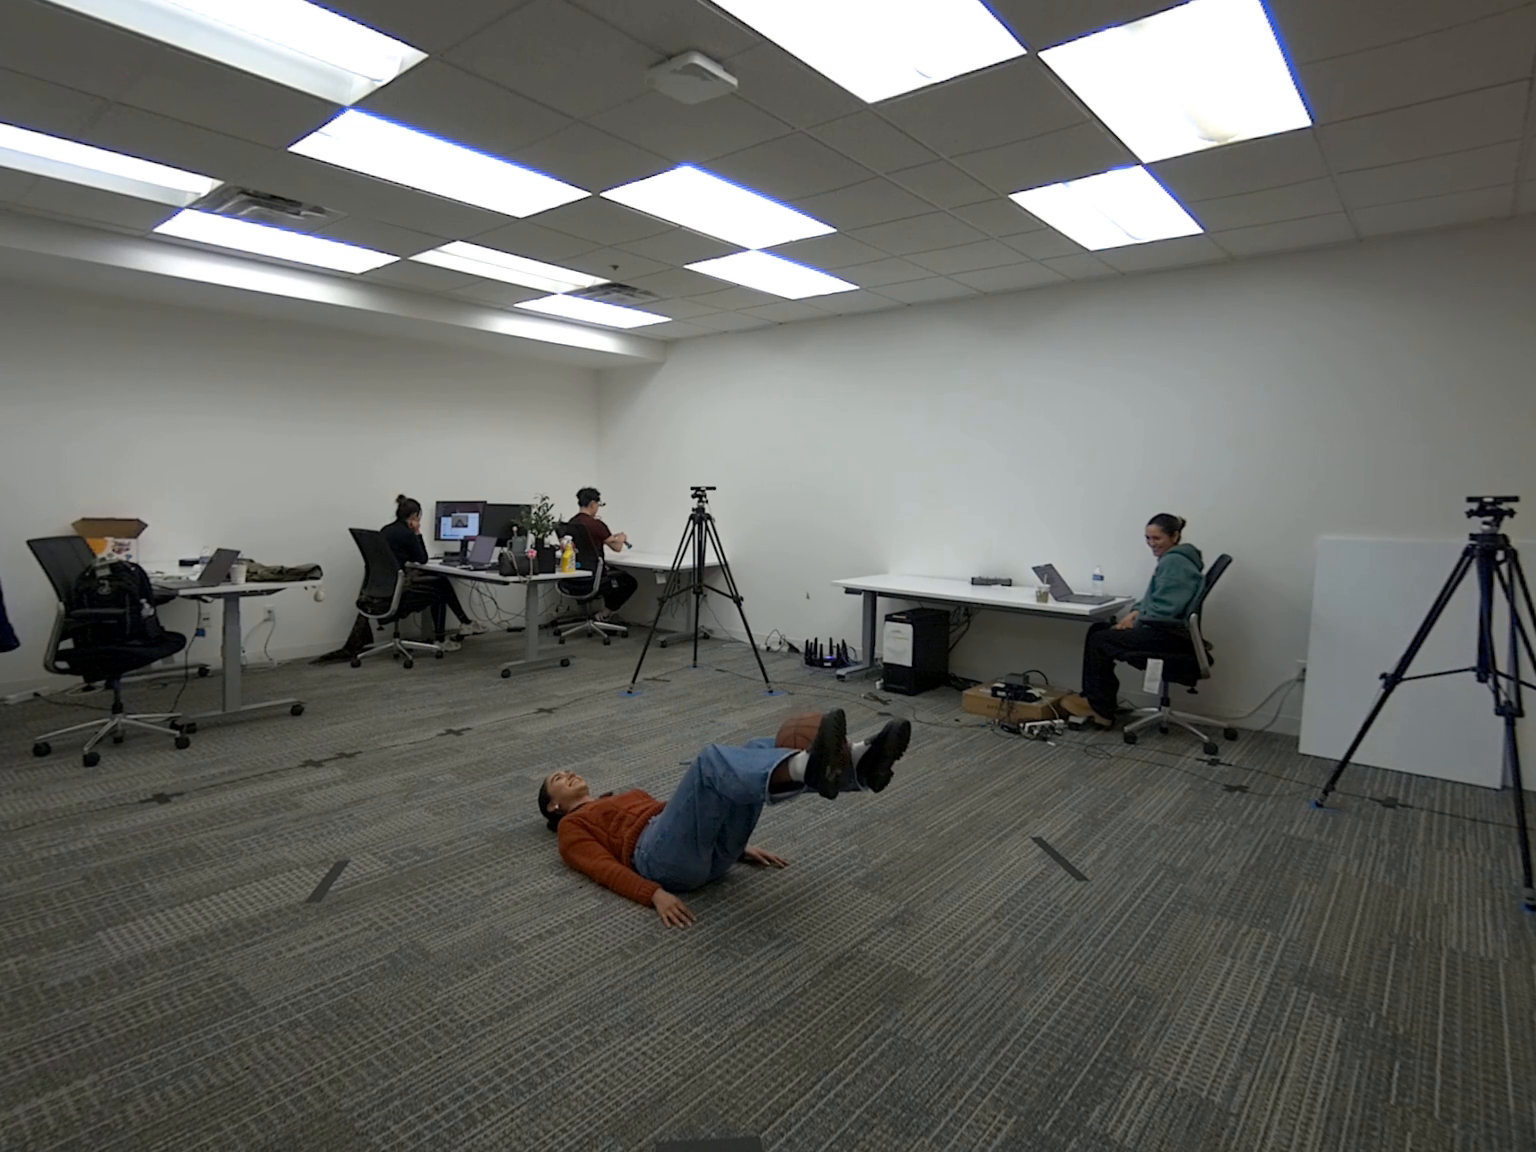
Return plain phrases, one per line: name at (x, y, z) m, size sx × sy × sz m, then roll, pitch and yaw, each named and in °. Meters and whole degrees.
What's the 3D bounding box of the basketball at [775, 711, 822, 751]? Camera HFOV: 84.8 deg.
basketball at (0.129, 0.552, 2.736) m, size 0.236 × 0.235 × 0.237 m, roll 1°, pitch 4°, yaw -2°
